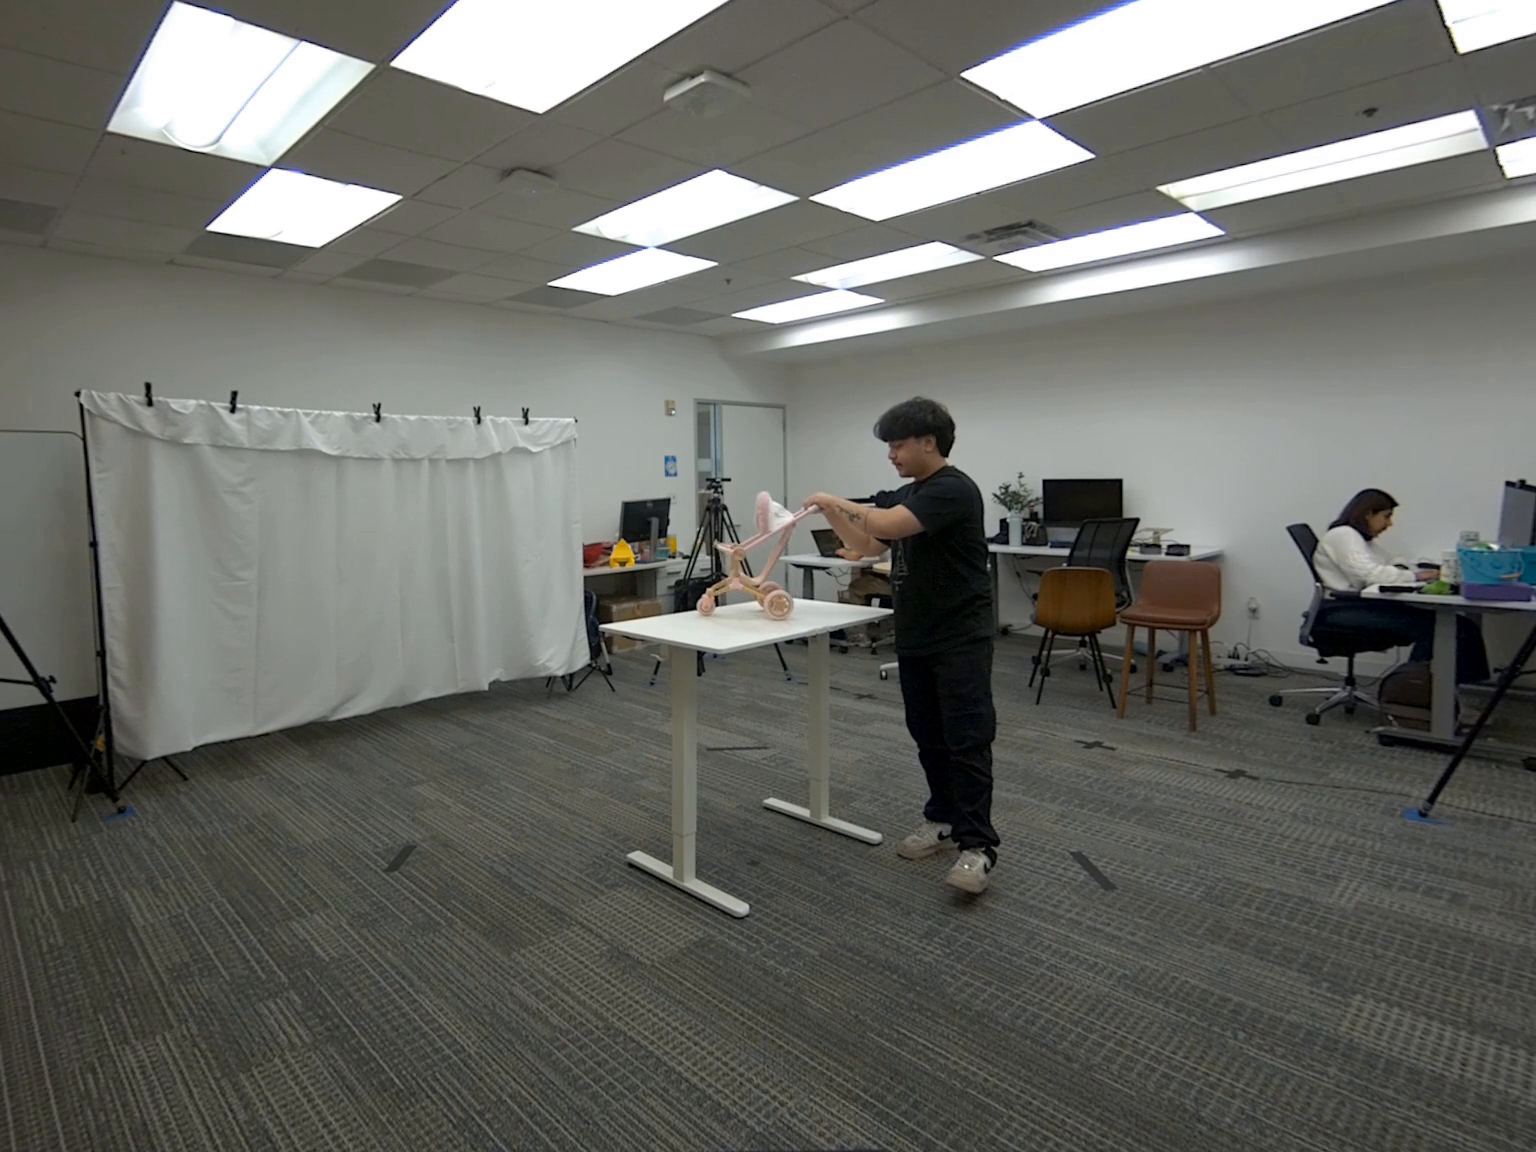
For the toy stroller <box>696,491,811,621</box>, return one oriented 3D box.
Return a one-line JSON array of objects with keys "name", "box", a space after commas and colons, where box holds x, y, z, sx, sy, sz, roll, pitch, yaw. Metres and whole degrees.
[{"name": "toy stroller", "box": [-0.035, -0.075, 3.197, 0.341, 0.534, 0.282, 16, 3, -1]}]
